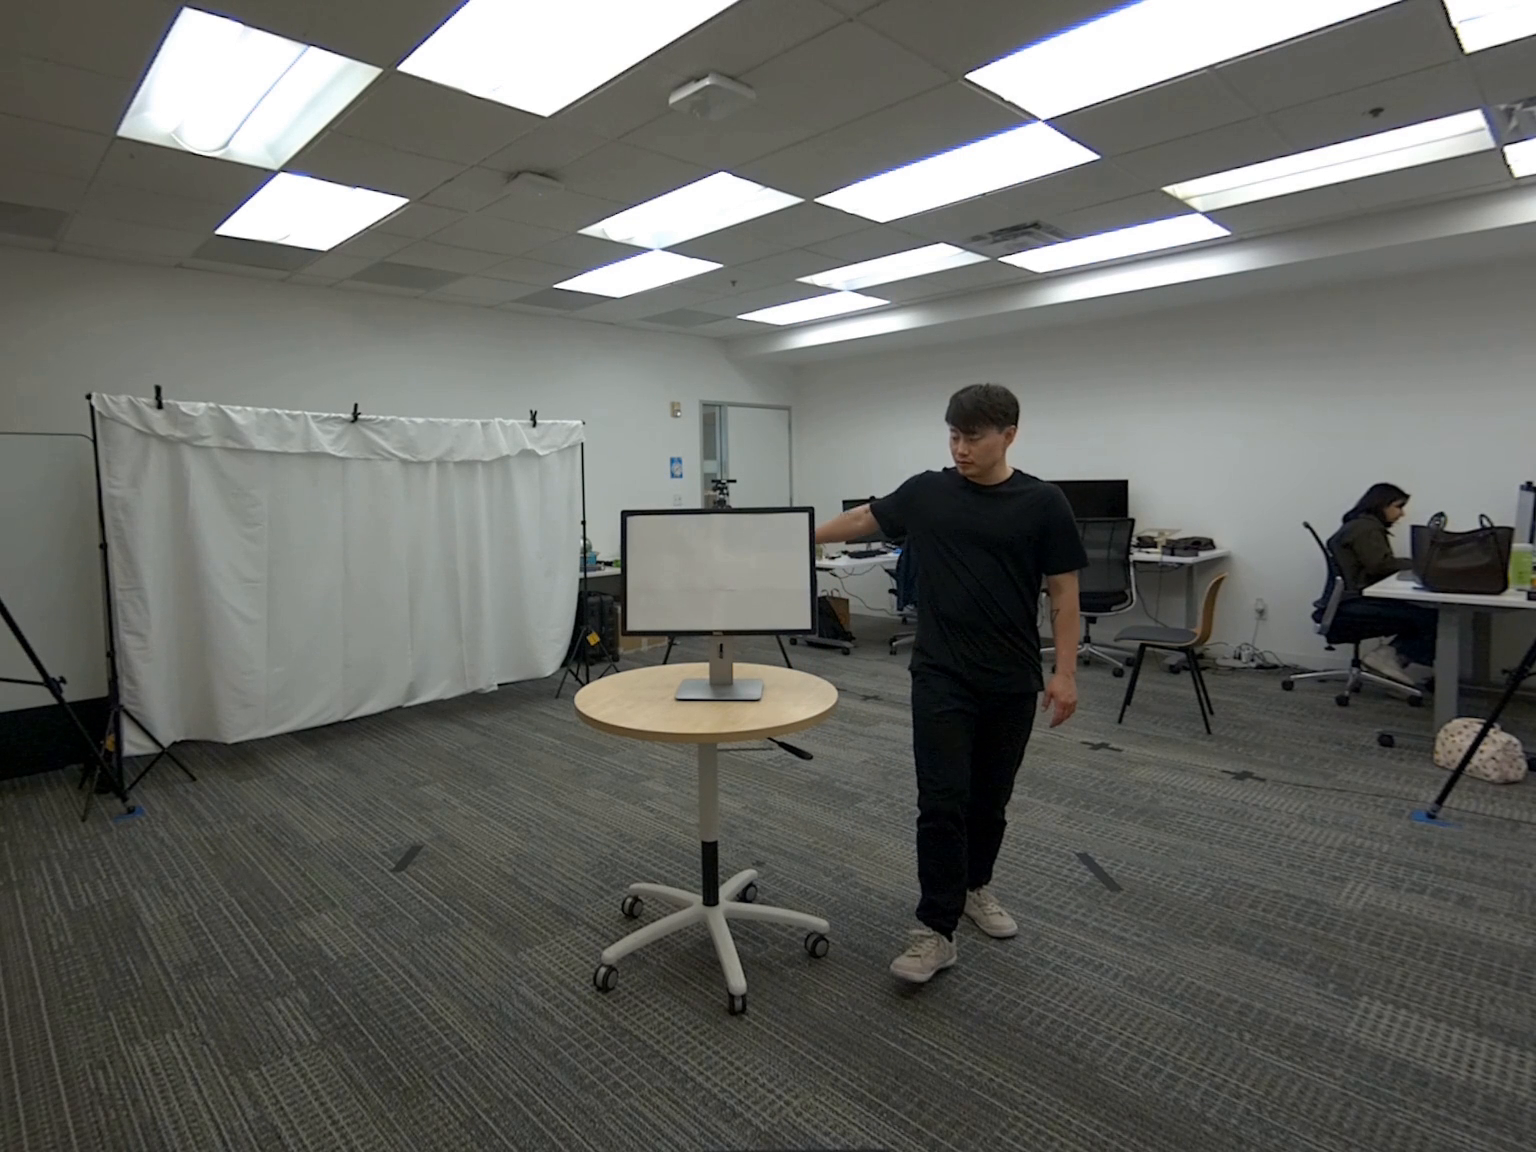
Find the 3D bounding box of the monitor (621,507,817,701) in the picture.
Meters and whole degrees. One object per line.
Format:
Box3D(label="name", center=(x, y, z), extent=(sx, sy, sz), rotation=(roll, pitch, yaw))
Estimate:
Box3D(label="monitor", center=(-0.140, 0.073, 2.484), extent=(0.540, 0.520, 0.188), rotation=(-1, 6, 2))
